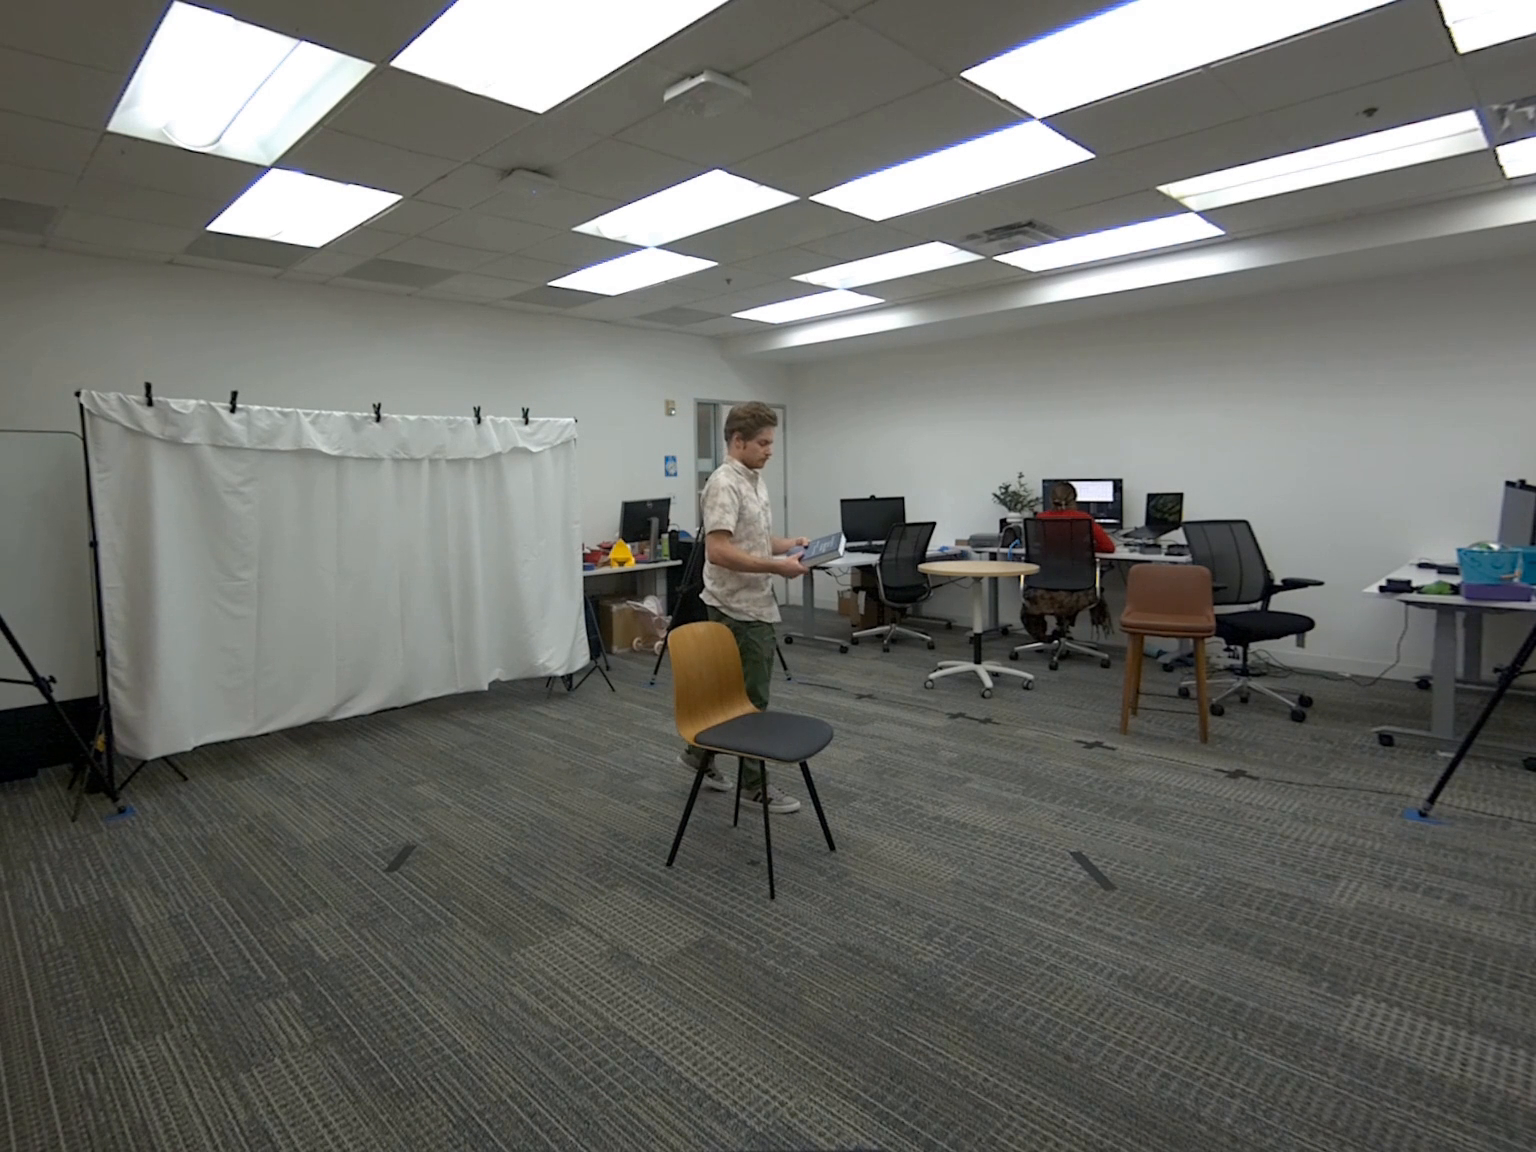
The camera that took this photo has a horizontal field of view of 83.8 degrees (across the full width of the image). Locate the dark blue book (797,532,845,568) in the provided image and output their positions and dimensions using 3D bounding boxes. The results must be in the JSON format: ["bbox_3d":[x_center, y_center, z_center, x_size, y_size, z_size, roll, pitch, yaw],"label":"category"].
[{"bbox_3d":[0.200,-0.098,3.496,0.248,0.044,0.165,-16,25,20],"label":"dark blue book"}]
